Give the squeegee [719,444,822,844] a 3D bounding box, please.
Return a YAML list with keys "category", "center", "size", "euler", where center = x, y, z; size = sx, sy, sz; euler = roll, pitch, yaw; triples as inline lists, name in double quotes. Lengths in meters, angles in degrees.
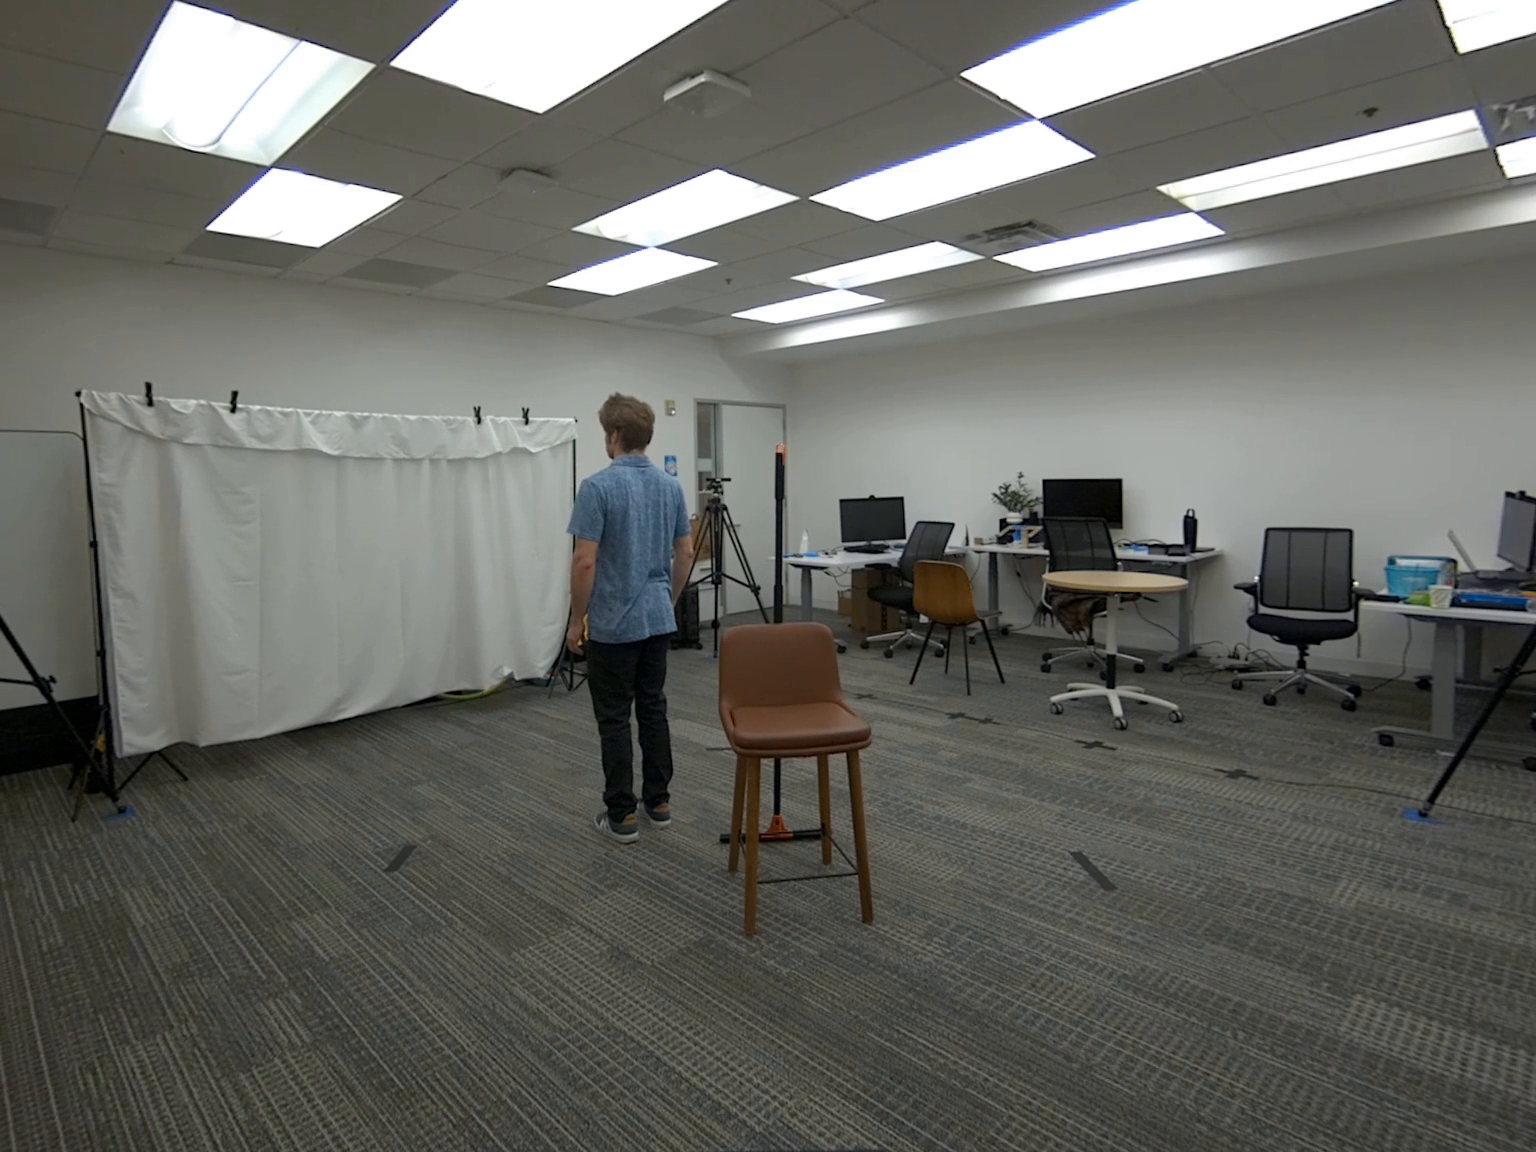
- category: "squeegee"
  center: [0.025, 0.278, 3.124]
  size: [0.434, 1.521, 0.054]
  euler: [-2, 12, -7]
